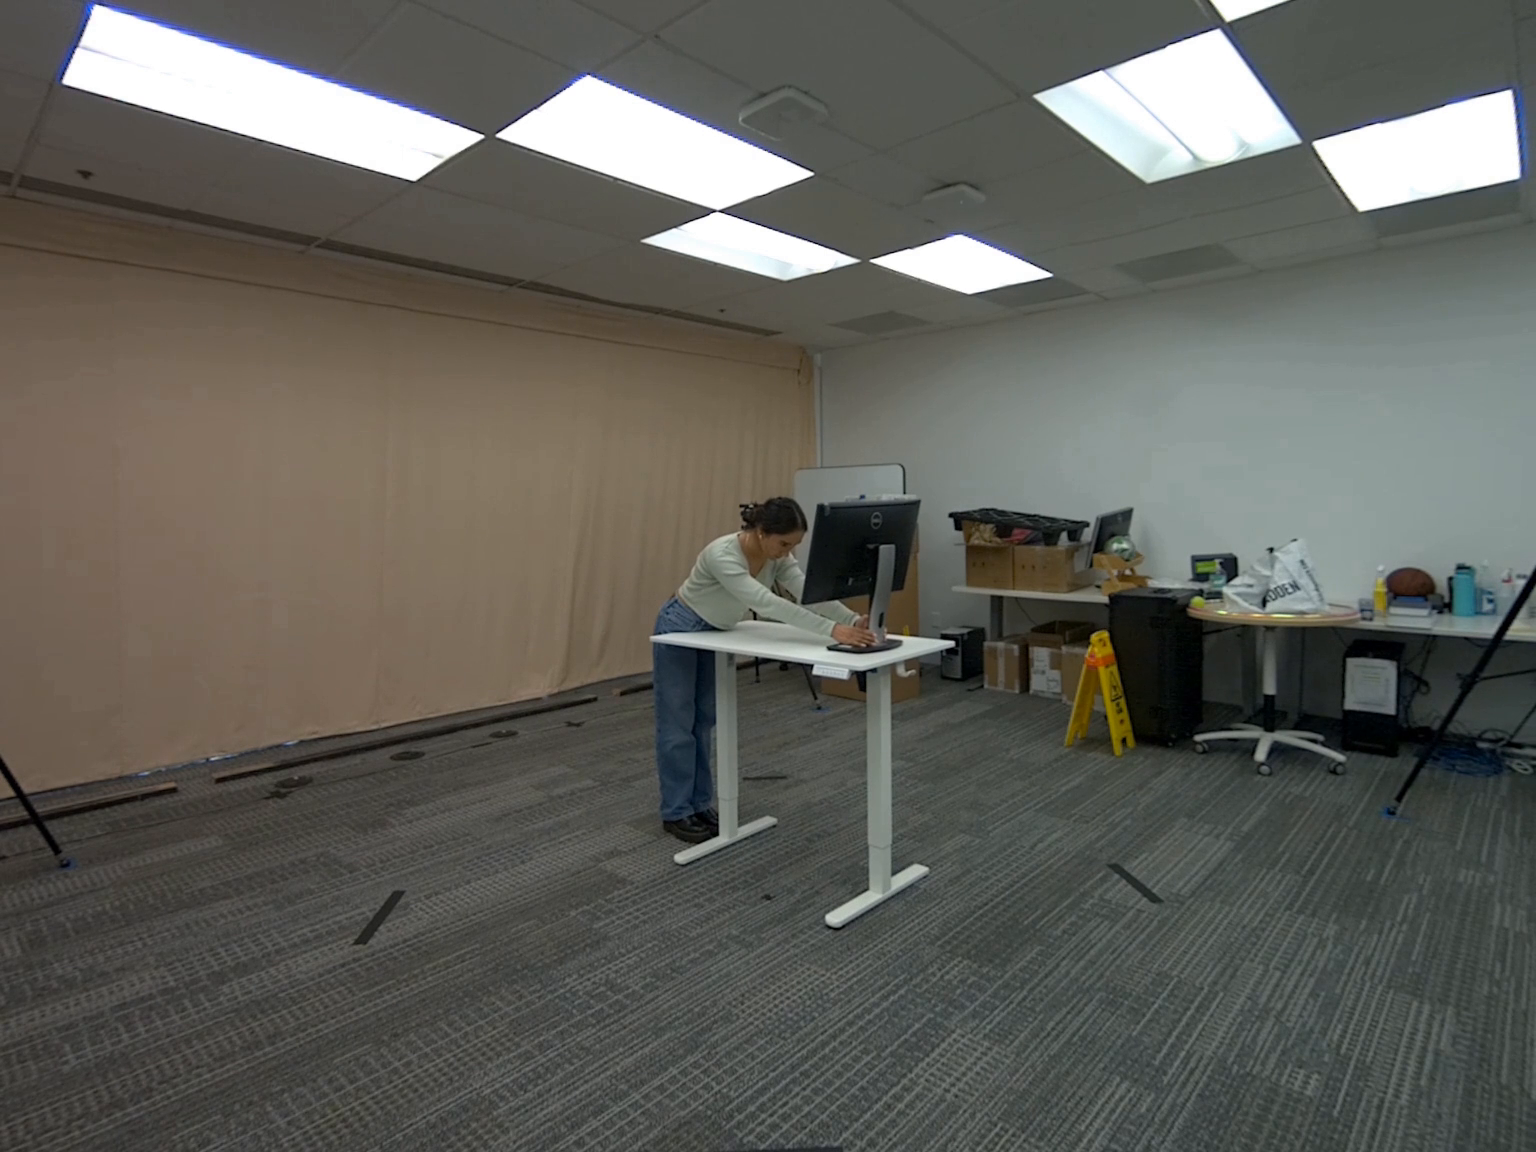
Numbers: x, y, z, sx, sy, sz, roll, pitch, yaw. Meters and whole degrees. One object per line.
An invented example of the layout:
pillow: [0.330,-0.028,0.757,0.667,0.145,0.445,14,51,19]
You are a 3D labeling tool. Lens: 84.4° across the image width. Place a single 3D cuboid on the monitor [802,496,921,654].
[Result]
monitor: [0.365,-0.002,2.941,0.523,0.521,0.193,-5,7,-42]
